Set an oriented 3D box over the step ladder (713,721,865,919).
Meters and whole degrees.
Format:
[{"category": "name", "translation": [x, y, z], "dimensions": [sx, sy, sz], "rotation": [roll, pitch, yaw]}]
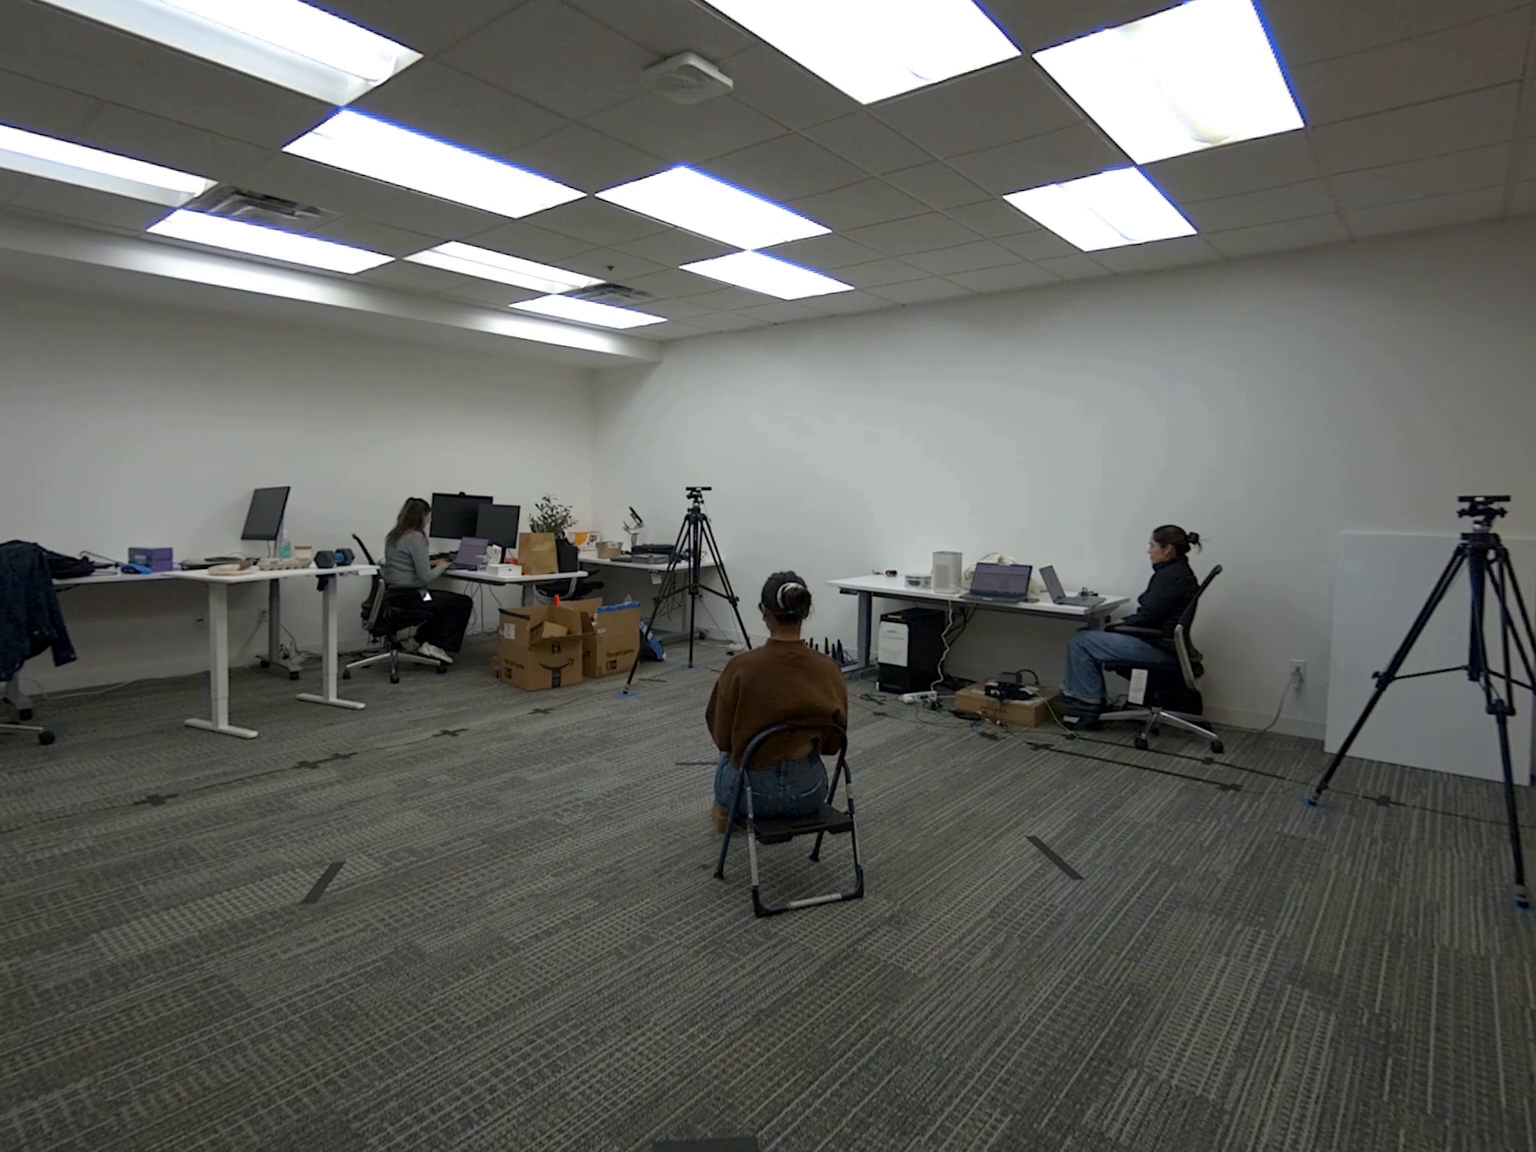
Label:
[{"category": "step ladder", "translation": [0.069, 0.789, 2.967], "dimensions": [0.420, 0.604, 0.359], "rotation": [-1, 4, -26]}]
